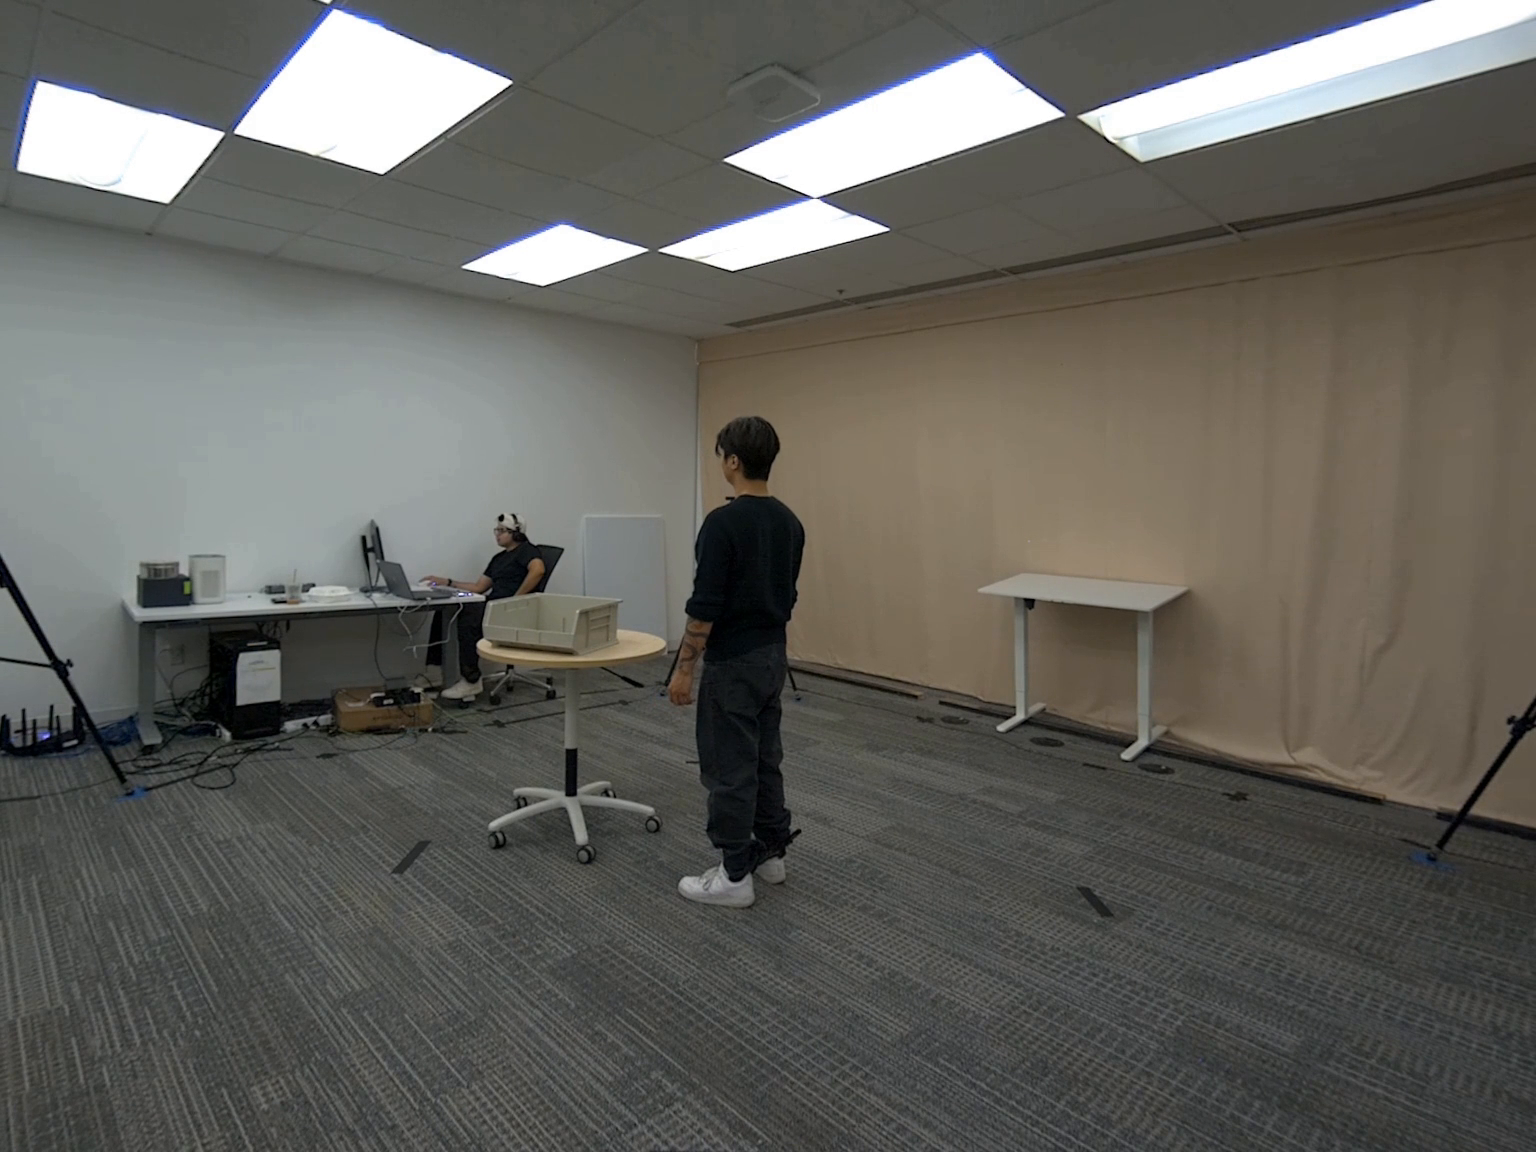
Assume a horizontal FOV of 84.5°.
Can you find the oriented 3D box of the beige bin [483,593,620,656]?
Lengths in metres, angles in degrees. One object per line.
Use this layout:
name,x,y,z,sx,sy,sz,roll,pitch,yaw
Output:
beige bin,-0.872,0.192,3.404,0.429,0.188,0.372,3,4,20
